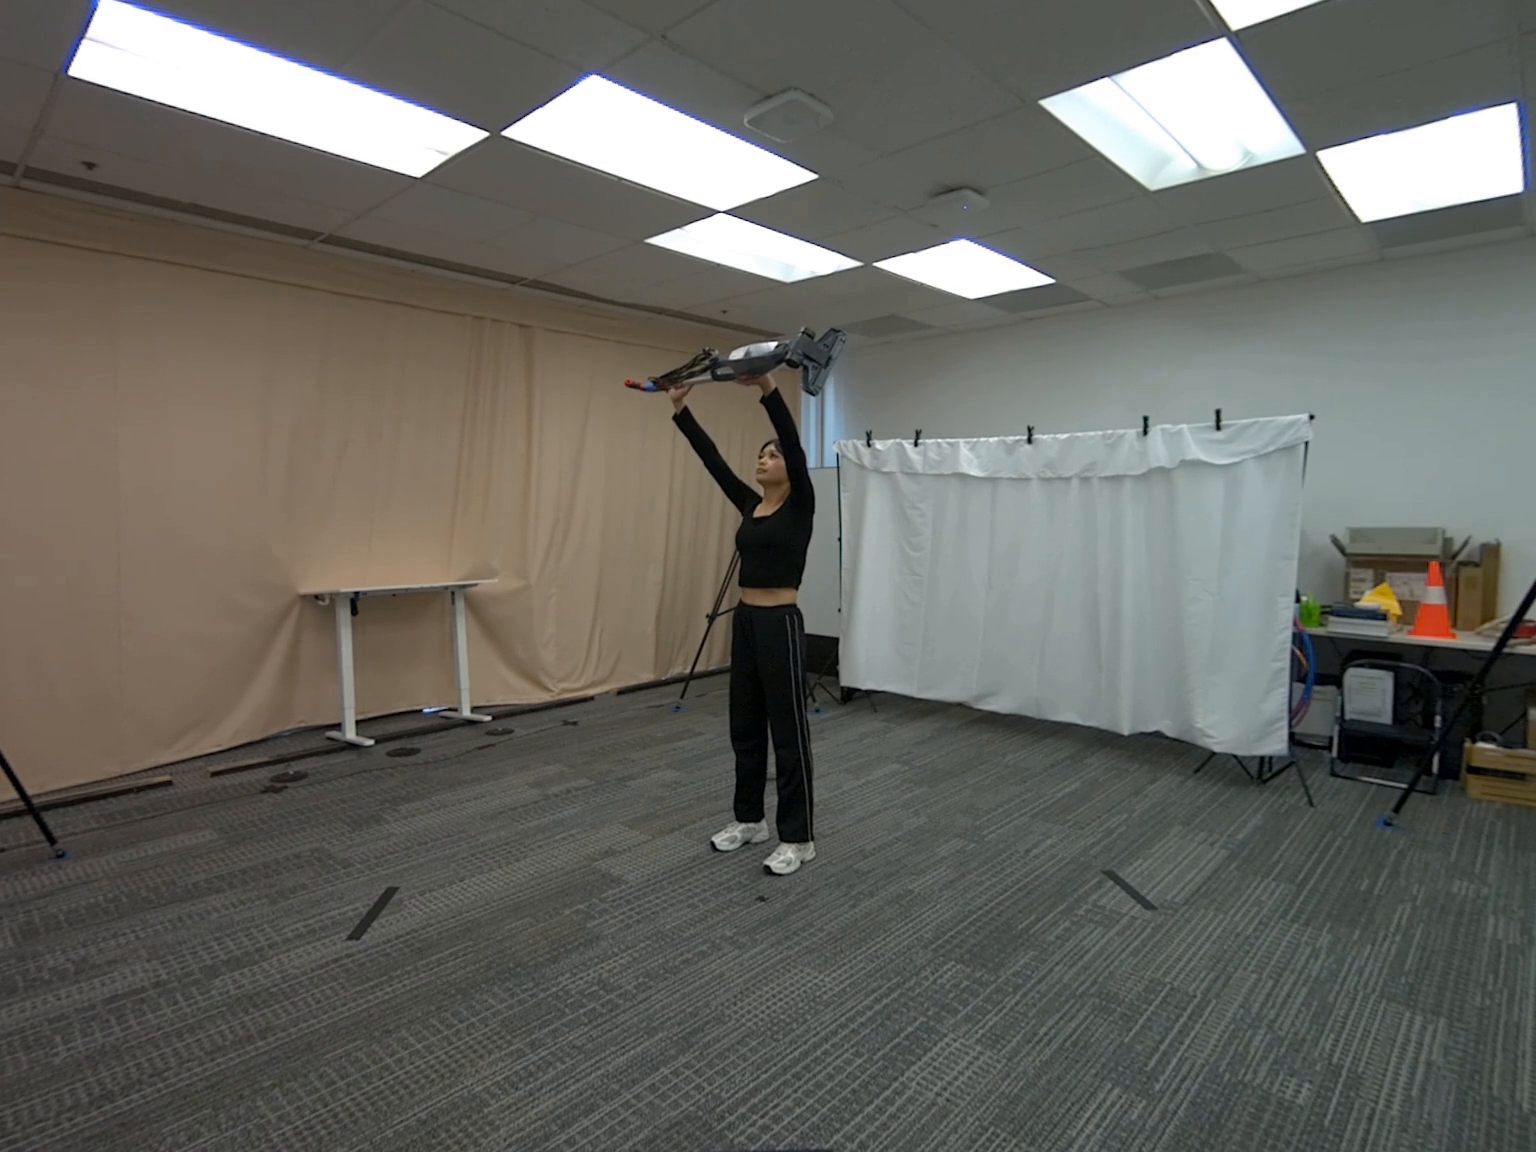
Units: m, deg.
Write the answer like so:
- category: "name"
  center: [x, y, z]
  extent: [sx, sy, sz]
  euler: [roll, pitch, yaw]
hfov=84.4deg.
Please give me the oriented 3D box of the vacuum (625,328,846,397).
- category: "vacuum"
  center: [-0.209, -0.752, 3.084]
  extent: [1.085, 0.253, 0.139]
  euler: [7, -24, 46]
